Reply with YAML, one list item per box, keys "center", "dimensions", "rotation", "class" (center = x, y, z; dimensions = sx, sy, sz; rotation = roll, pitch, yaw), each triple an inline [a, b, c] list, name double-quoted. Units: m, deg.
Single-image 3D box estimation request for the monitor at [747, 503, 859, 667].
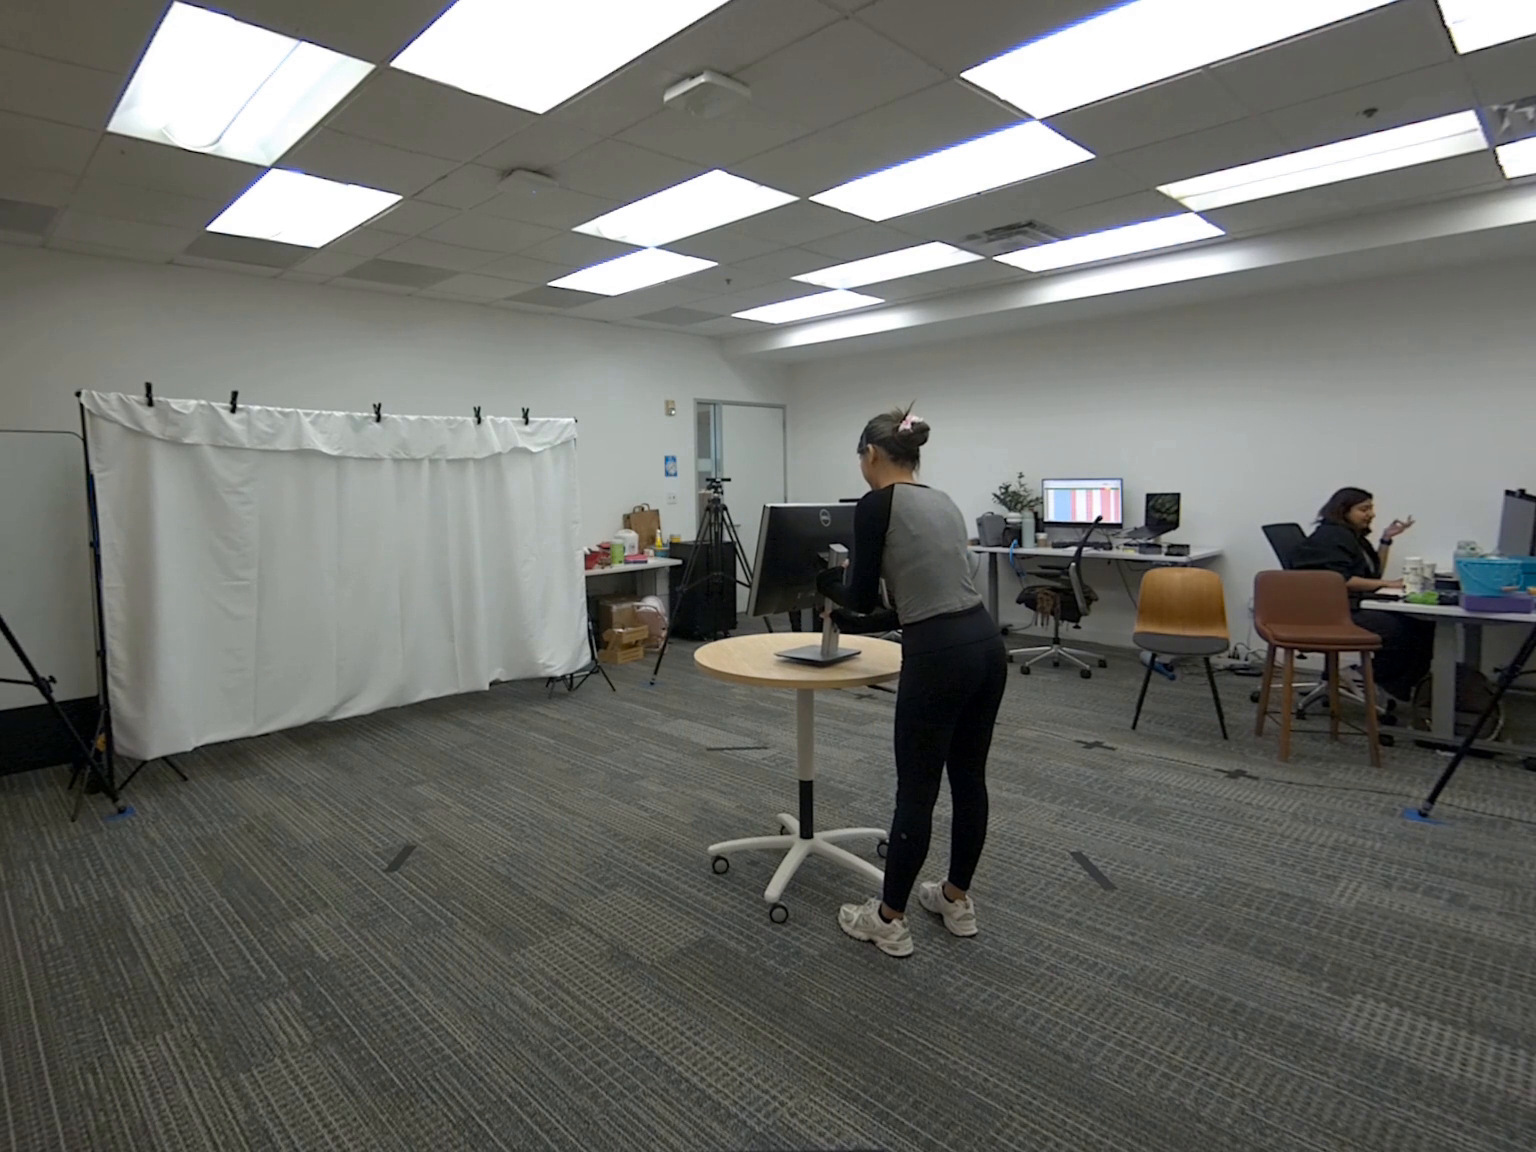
- center: [0.169, 0.017, 2.853]
  dimensions: [0.179, 0.517, 0.516]
  rotation: [-7, -1, 39]
  class: "monitor"
